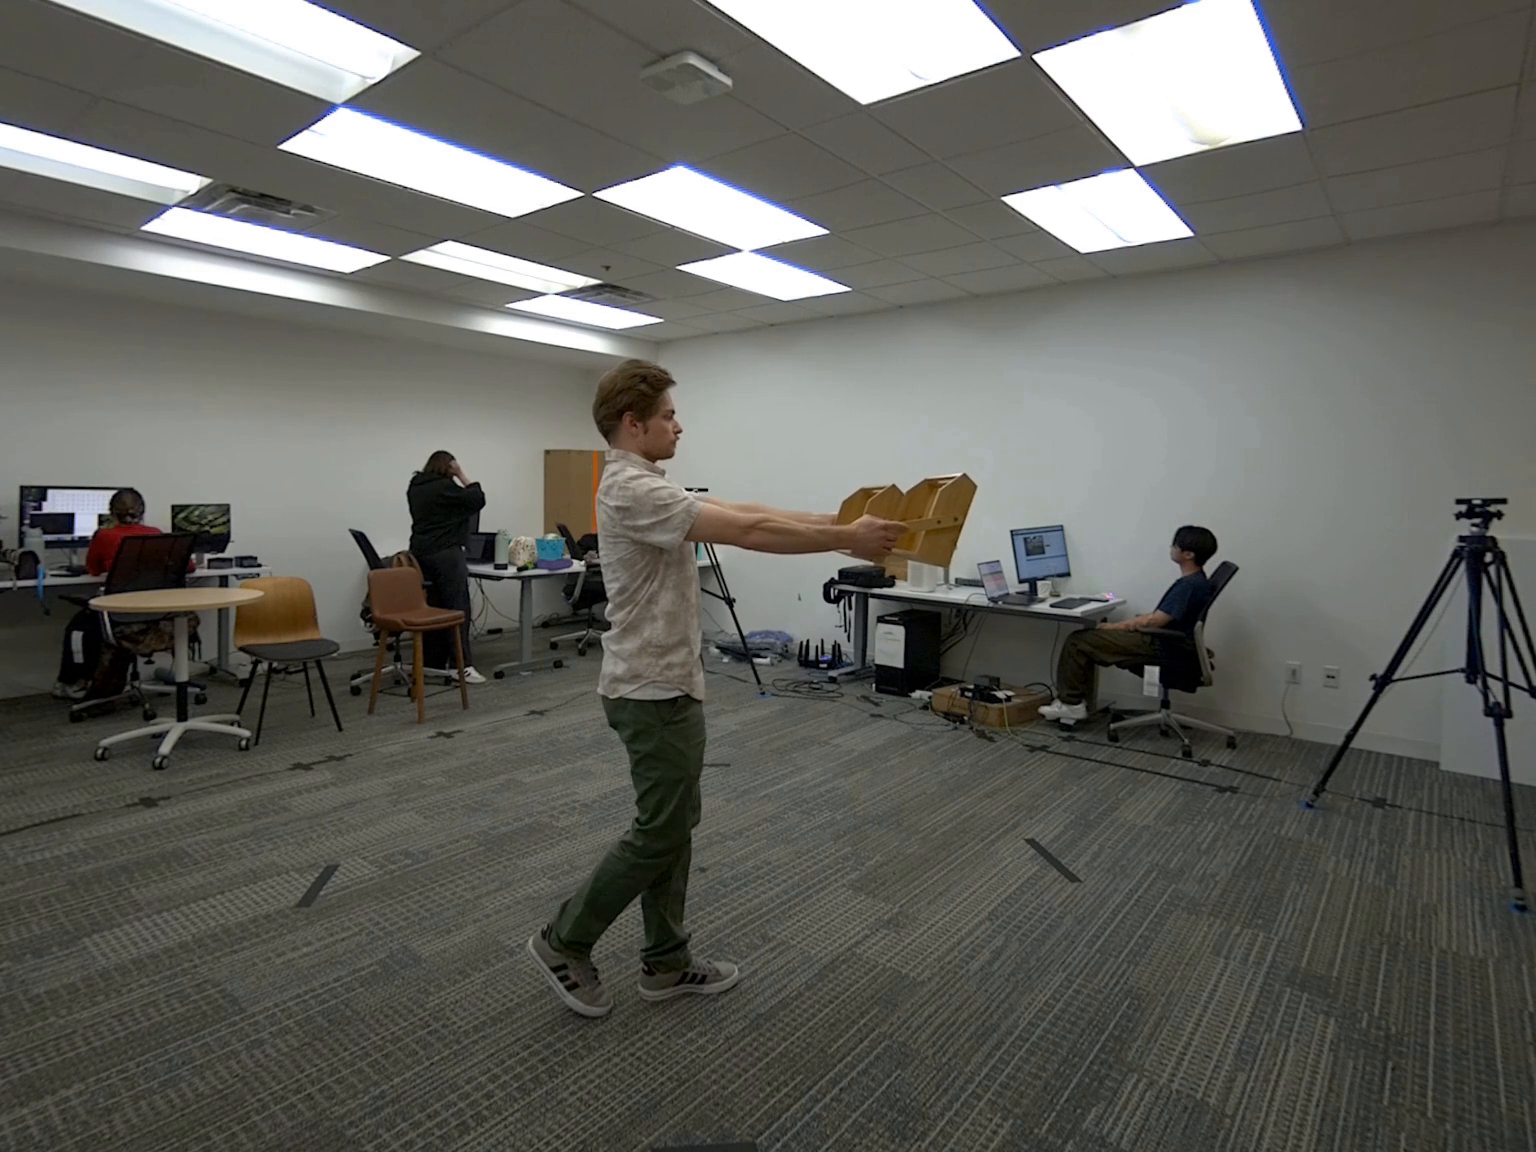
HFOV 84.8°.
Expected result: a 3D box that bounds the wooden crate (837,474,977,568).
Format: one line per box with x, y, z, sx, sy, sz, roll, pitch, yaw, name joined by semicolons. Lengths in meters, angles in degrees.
0.358;-0.167;2.339;0.270;0.302;0.329;19;0;-11;wooden crate
